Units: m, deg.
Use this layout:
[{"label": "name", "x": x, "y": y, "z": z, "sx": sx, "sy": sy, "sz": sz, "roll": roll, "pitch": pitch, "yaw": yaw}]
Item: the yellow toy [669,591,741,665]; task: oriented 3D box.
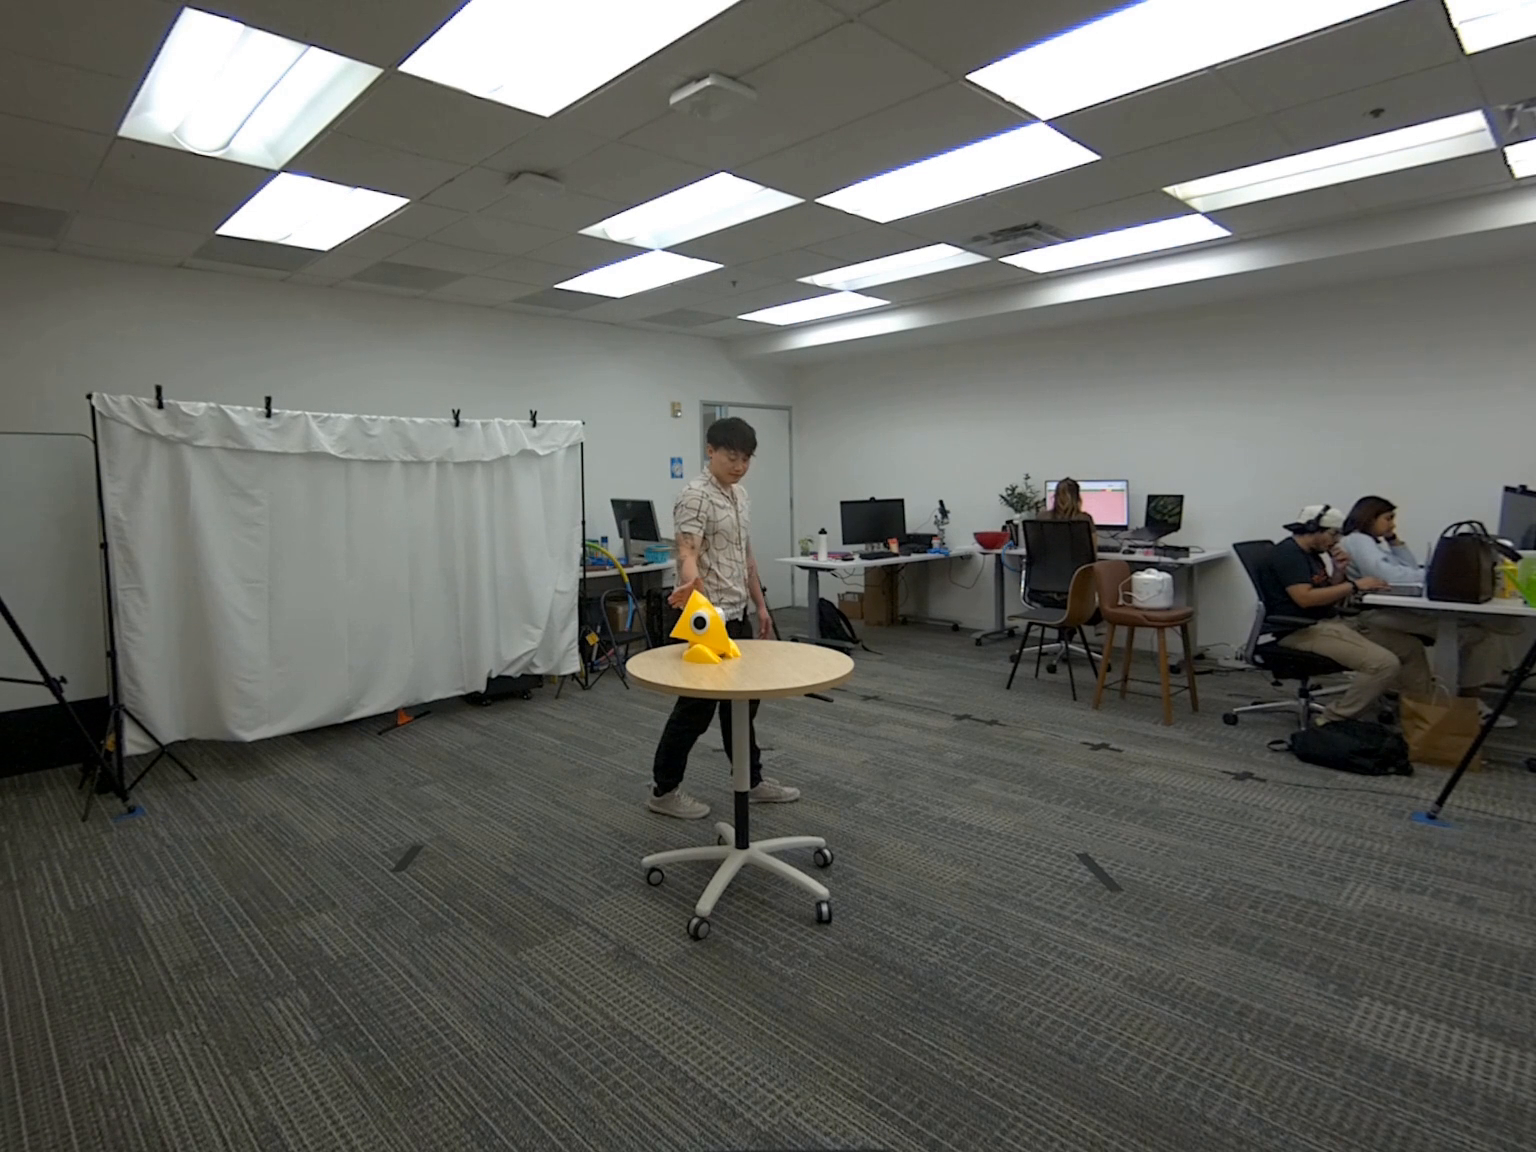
[{"label": "yellow toy", "x": -0.207, "y": 0.169, "z": 2.968, "sx": 0.199, "sy": 0.229, "sz": 0.200, "roll": 3, "pitch": 7, "yaw": 35}]
